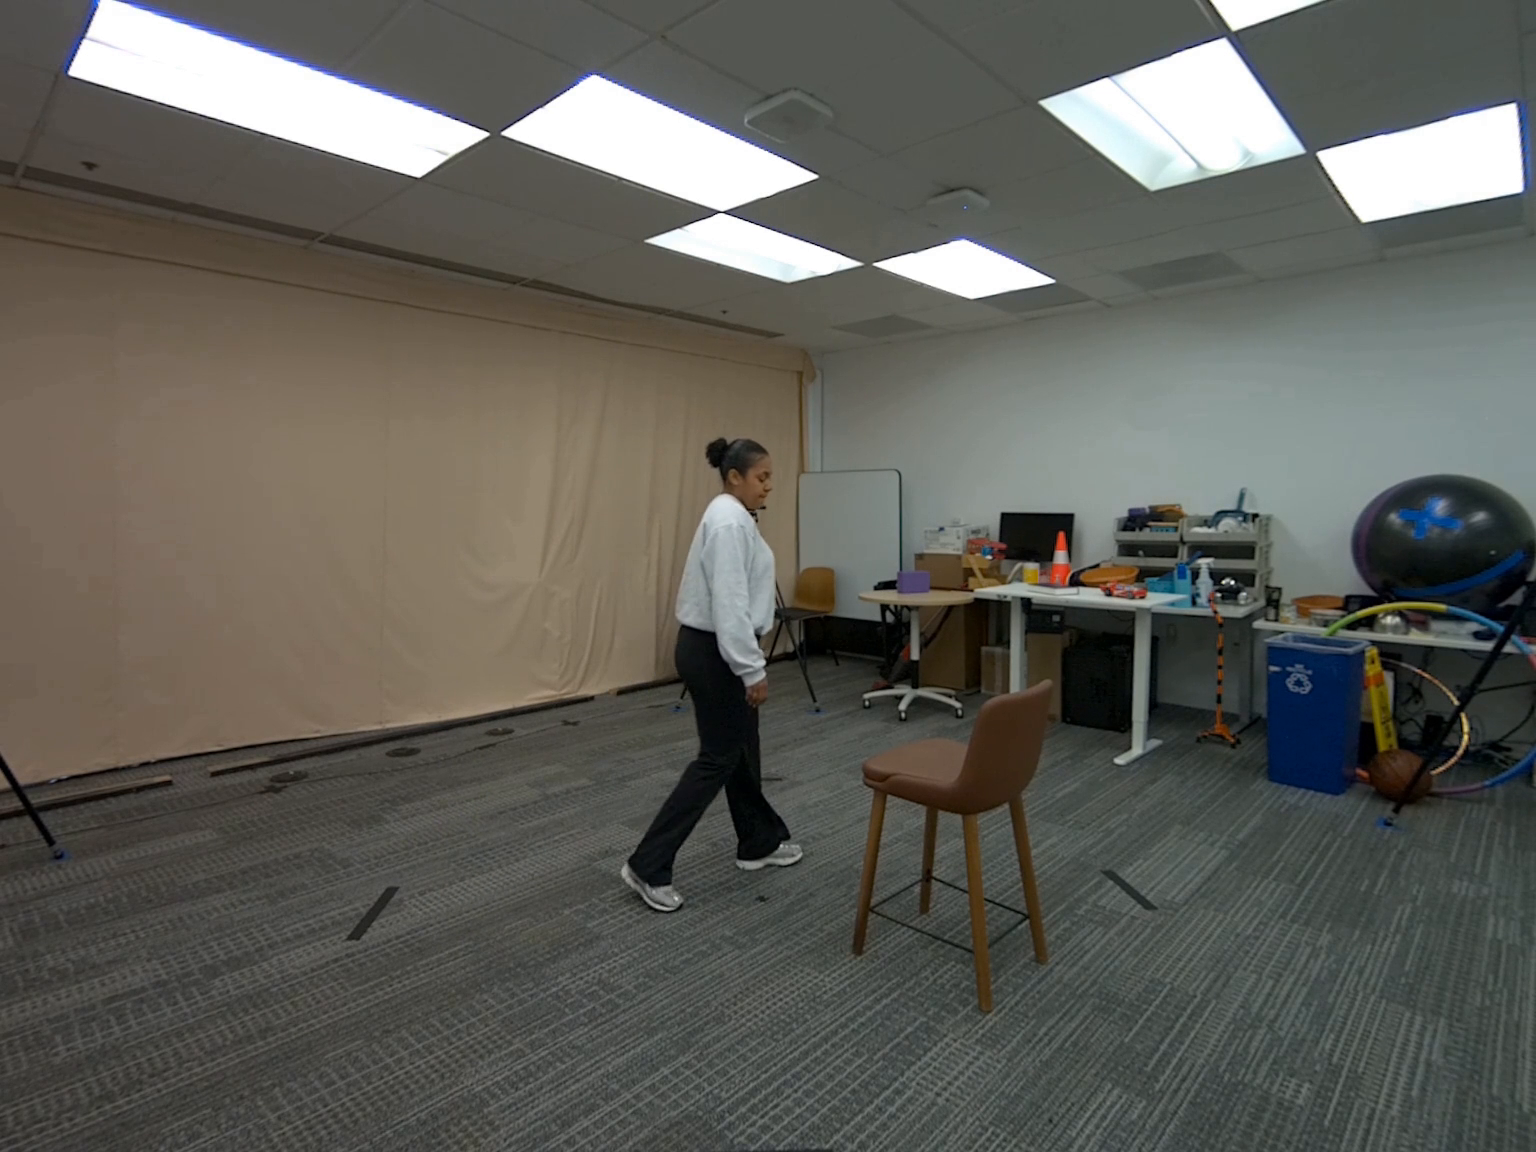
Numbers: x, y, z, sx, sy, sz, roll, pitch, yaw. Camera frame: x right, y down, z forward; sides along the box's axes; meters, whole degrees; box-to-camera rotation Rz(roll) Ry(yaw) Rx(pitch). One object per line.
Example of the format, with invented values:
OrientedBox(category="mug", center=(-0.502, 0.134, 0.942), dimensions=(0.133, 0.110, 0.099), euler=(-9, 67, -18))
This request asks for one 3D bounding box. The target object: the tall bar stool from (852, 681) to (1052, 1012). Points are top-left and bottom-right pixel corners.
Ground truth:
OrientedBox(category="tall bar stool", center=(0.570, 0.739, 2.567), dimensions=(0.484, 0.887, 0.442), euler=(6, 7, 44))
